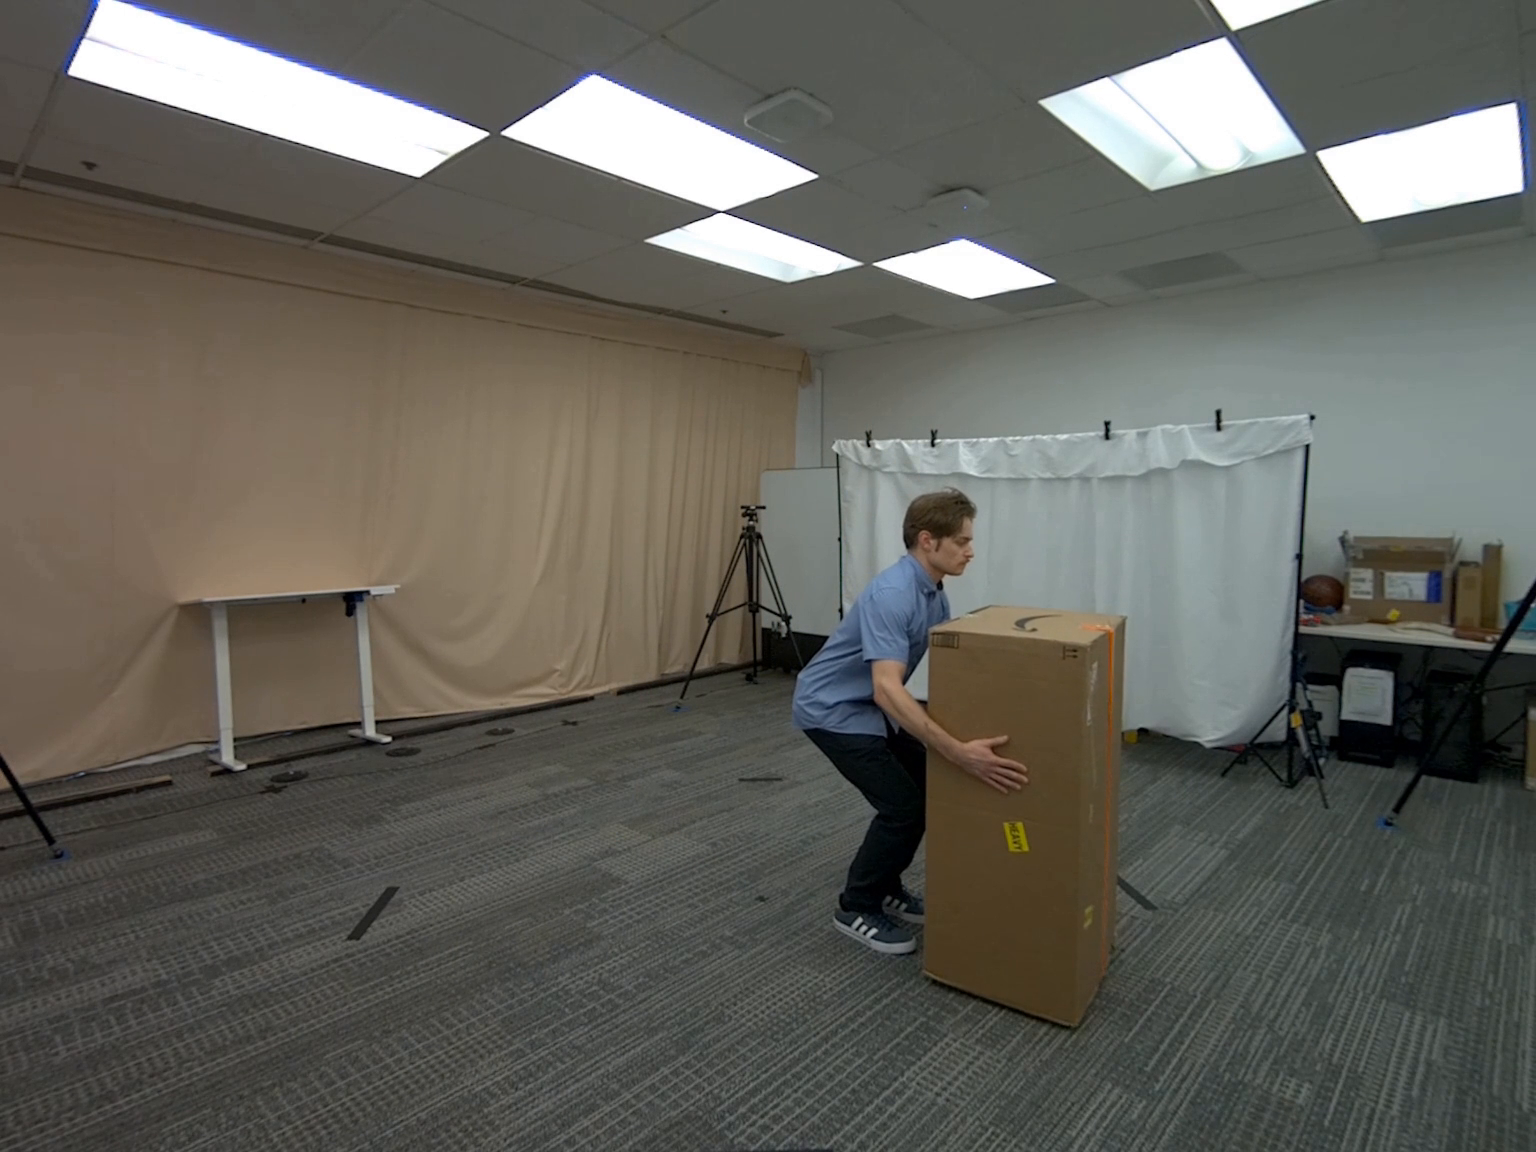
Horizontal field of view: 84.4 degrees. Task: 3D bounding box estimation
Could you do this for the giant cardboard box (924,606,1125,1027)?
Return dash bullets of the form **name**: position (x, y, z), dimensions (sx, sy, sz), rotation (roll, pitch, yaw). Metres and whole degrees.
- **giant cardboard box**: position (0.791, 0.649, 2.519), dimensions (0.439, 1.023, 0.561), rotation (3, 5, 34)
